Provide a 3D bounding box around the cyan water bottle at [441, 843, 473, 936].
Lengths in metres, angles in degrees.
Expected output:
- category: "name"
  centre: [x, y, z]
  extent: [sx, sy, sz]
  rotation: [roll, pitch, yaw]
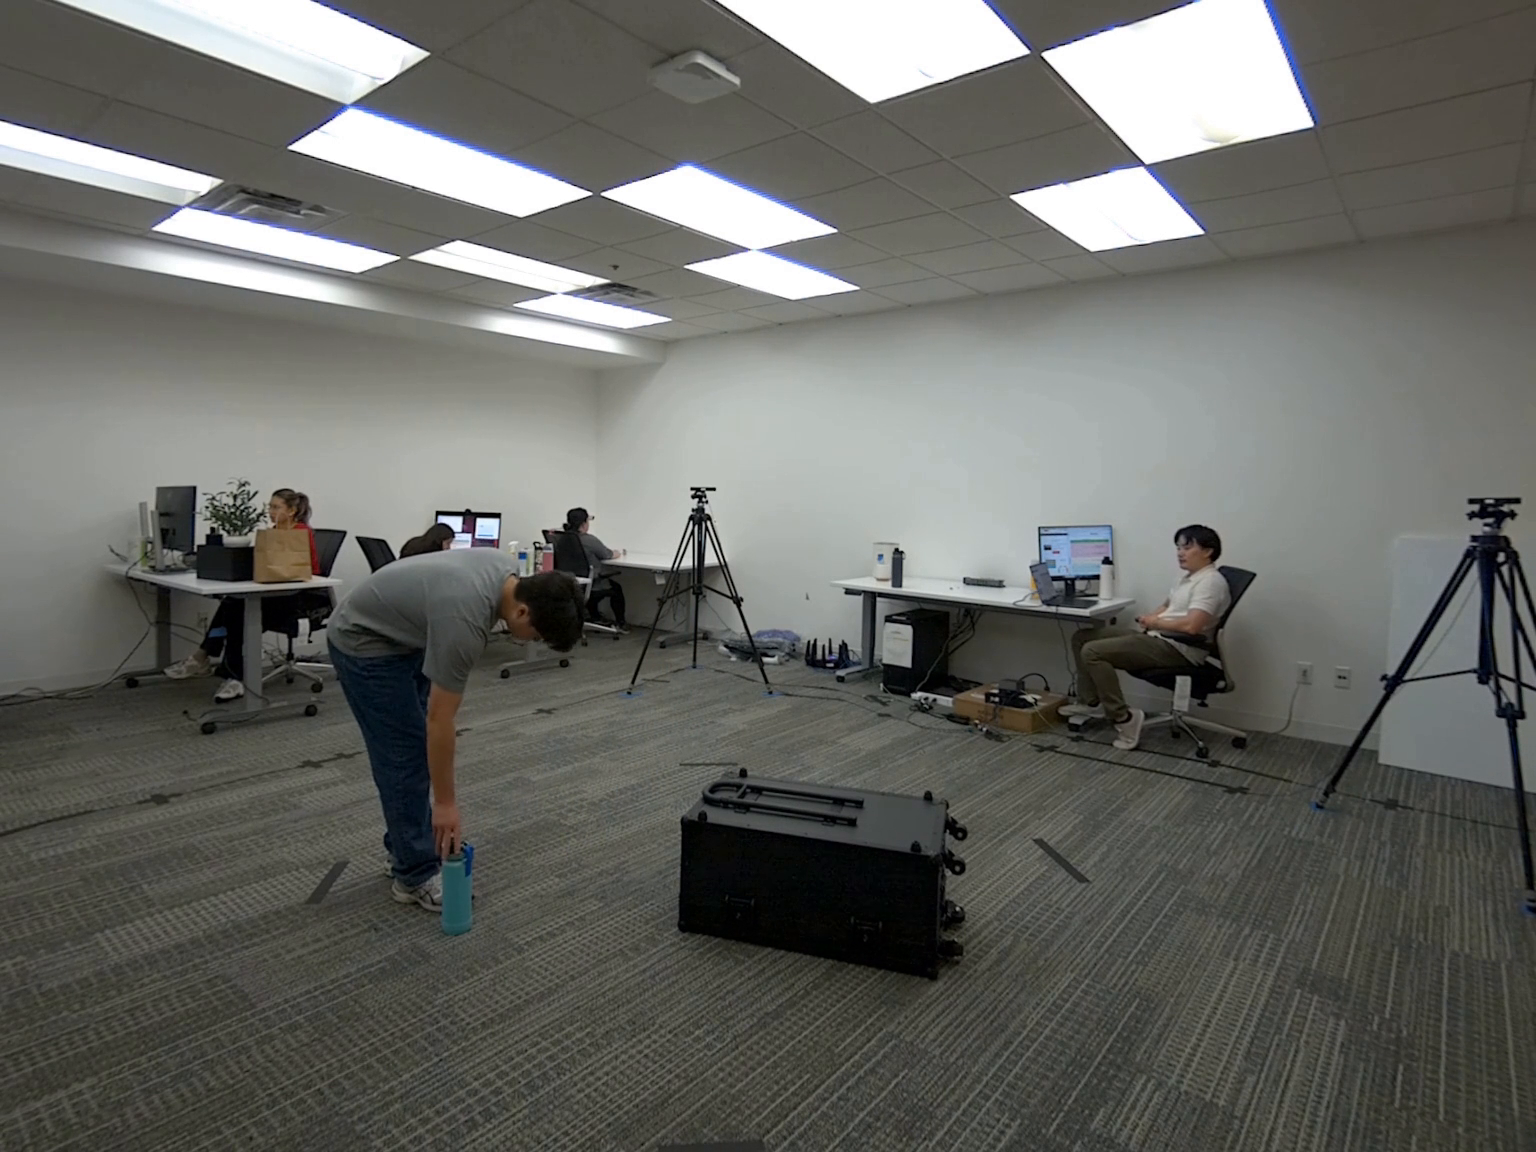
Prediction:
- category: "cyan water bottle"
  centre: [-0.982, 0.963, 2.647]
  extent: [0.092, 0.282, 0.093]
  rotation: [1, 3, -2]
